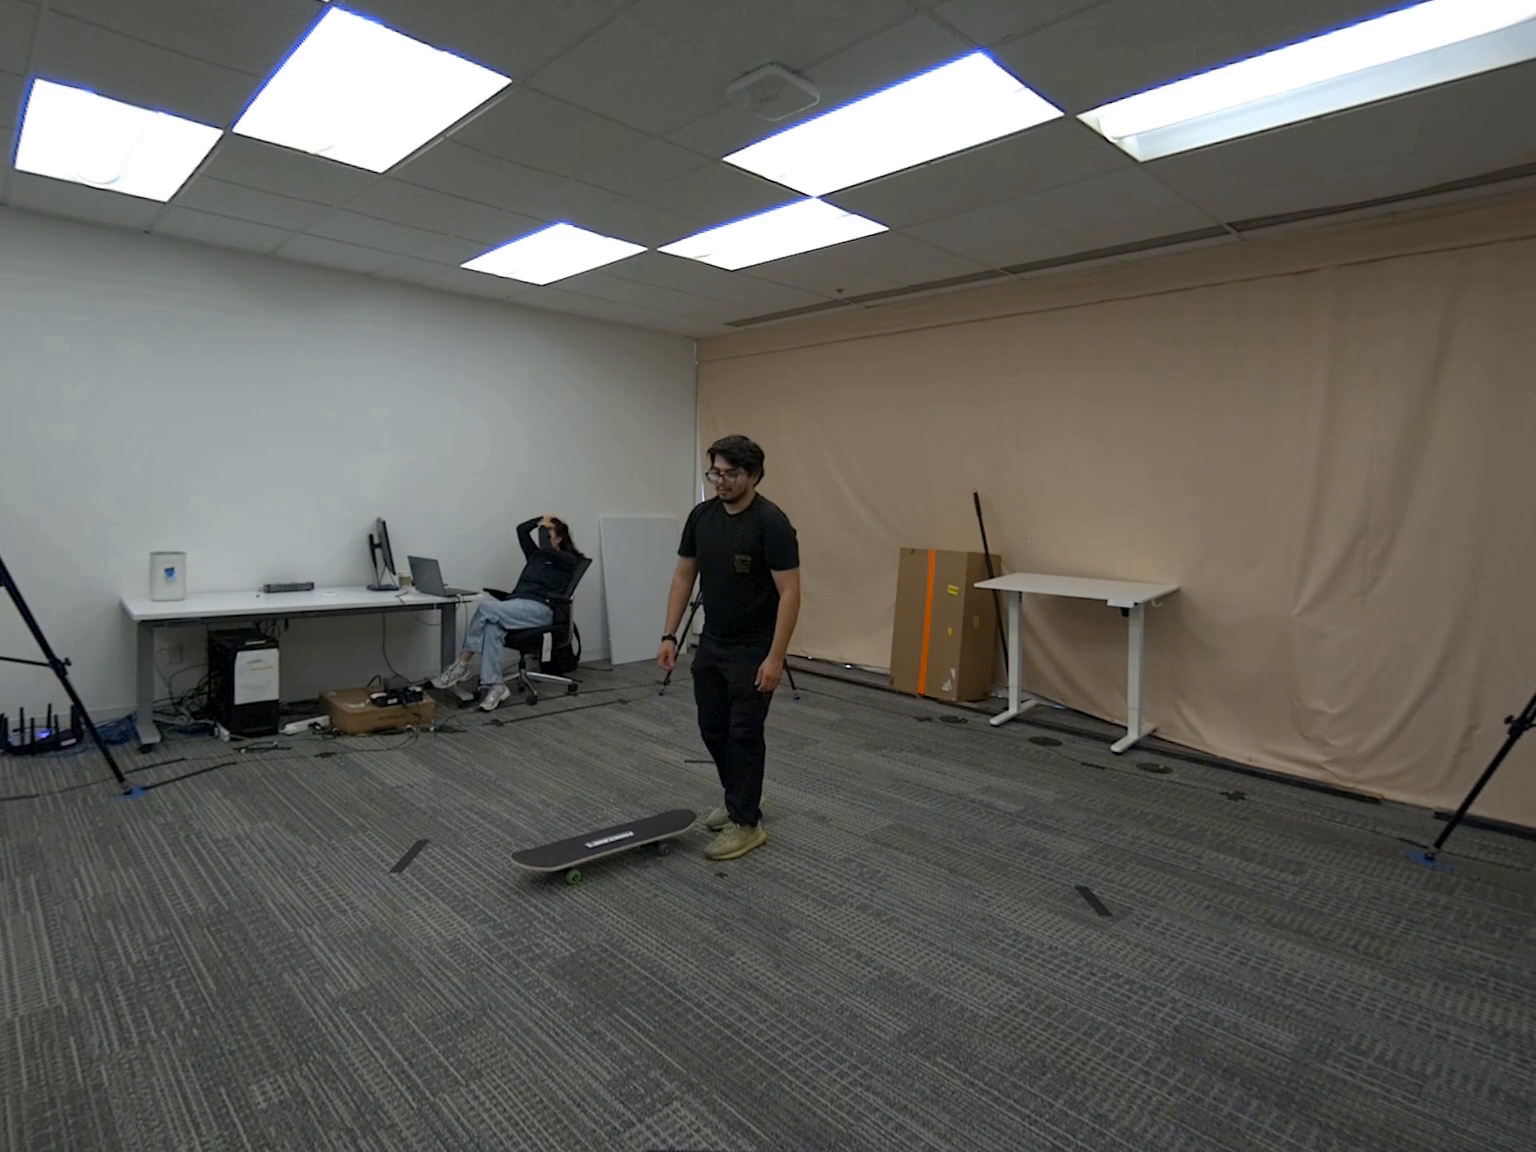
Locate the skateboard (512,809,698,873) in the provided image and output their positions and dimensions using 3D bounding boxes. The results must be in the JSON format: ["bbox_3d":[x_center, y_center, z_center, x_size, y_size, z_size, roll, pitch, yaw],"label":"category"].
[{"bbox_3d":[-0.607,1.032,3.189,0.767,0.110,0.198,-3,6,-42],"label":"skateboard"}]
